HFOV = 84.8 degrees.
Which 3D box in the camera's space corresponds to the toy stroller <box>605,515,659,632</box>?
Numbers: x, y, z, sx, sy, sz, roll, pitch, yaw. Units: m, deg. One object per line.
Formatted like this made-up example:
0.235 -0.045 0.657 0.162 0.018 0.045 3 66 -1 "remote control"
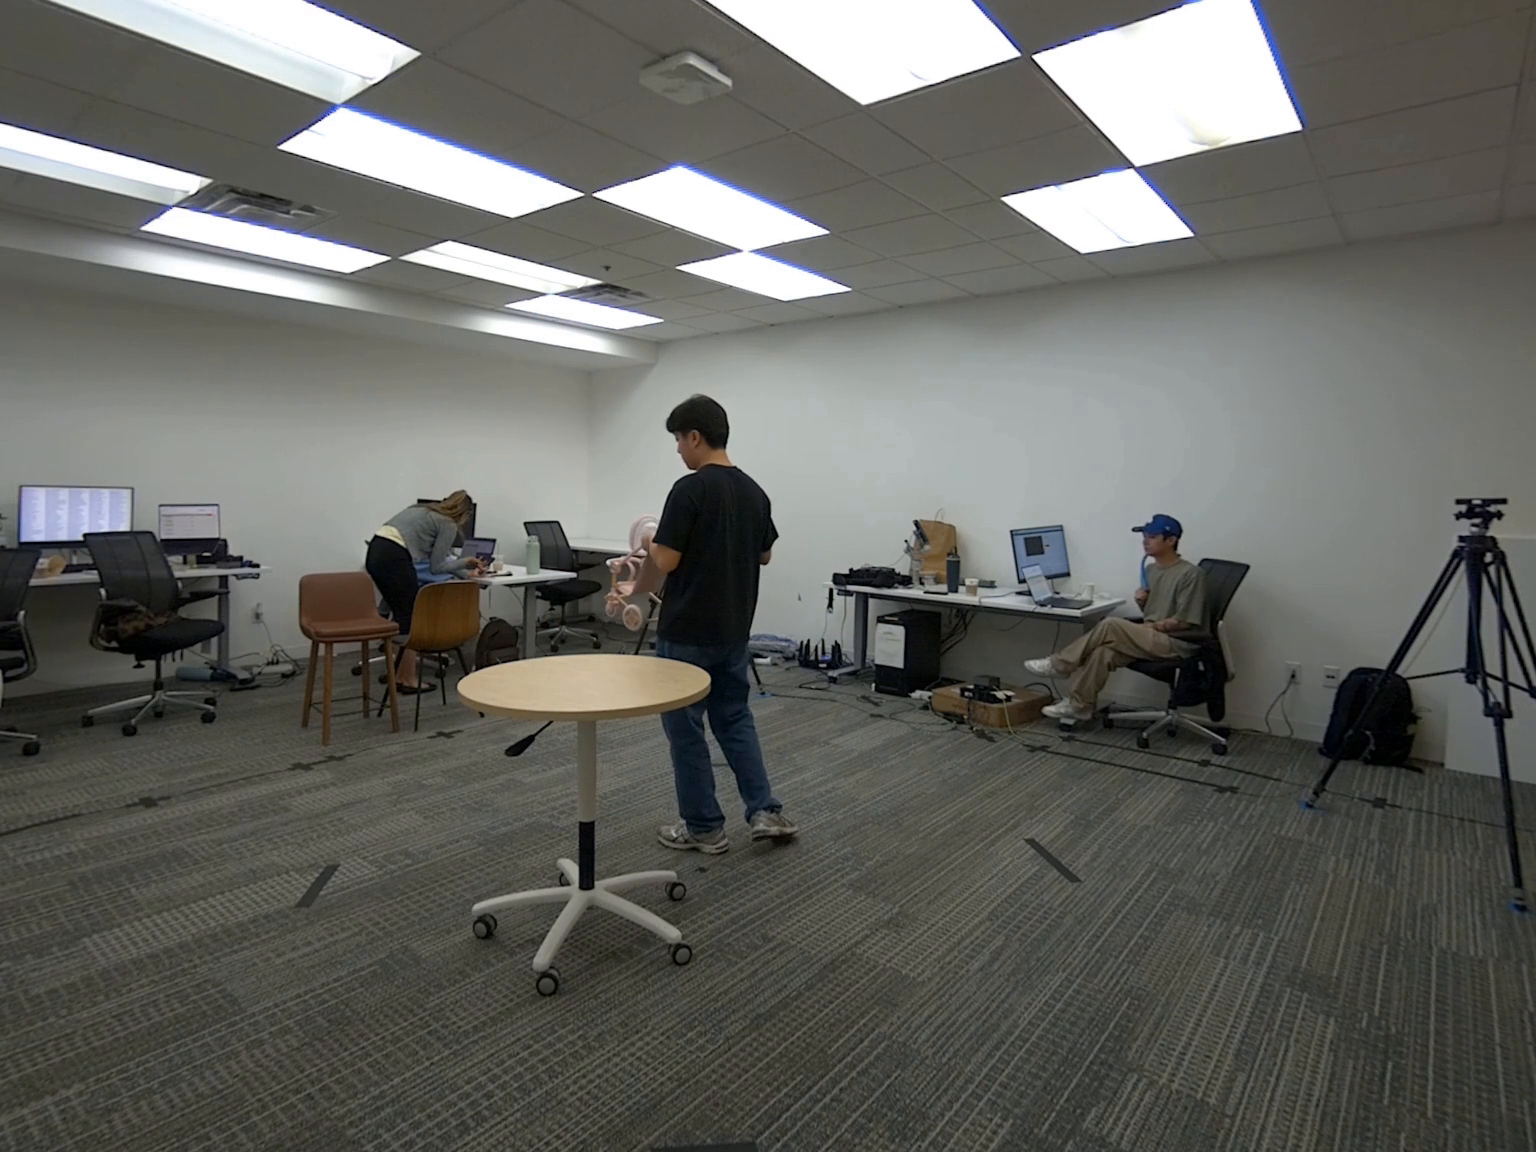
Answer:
-0.538 -0.024 3.595 0.355 0.530 0.273 25 18 36 "toy stroller"
